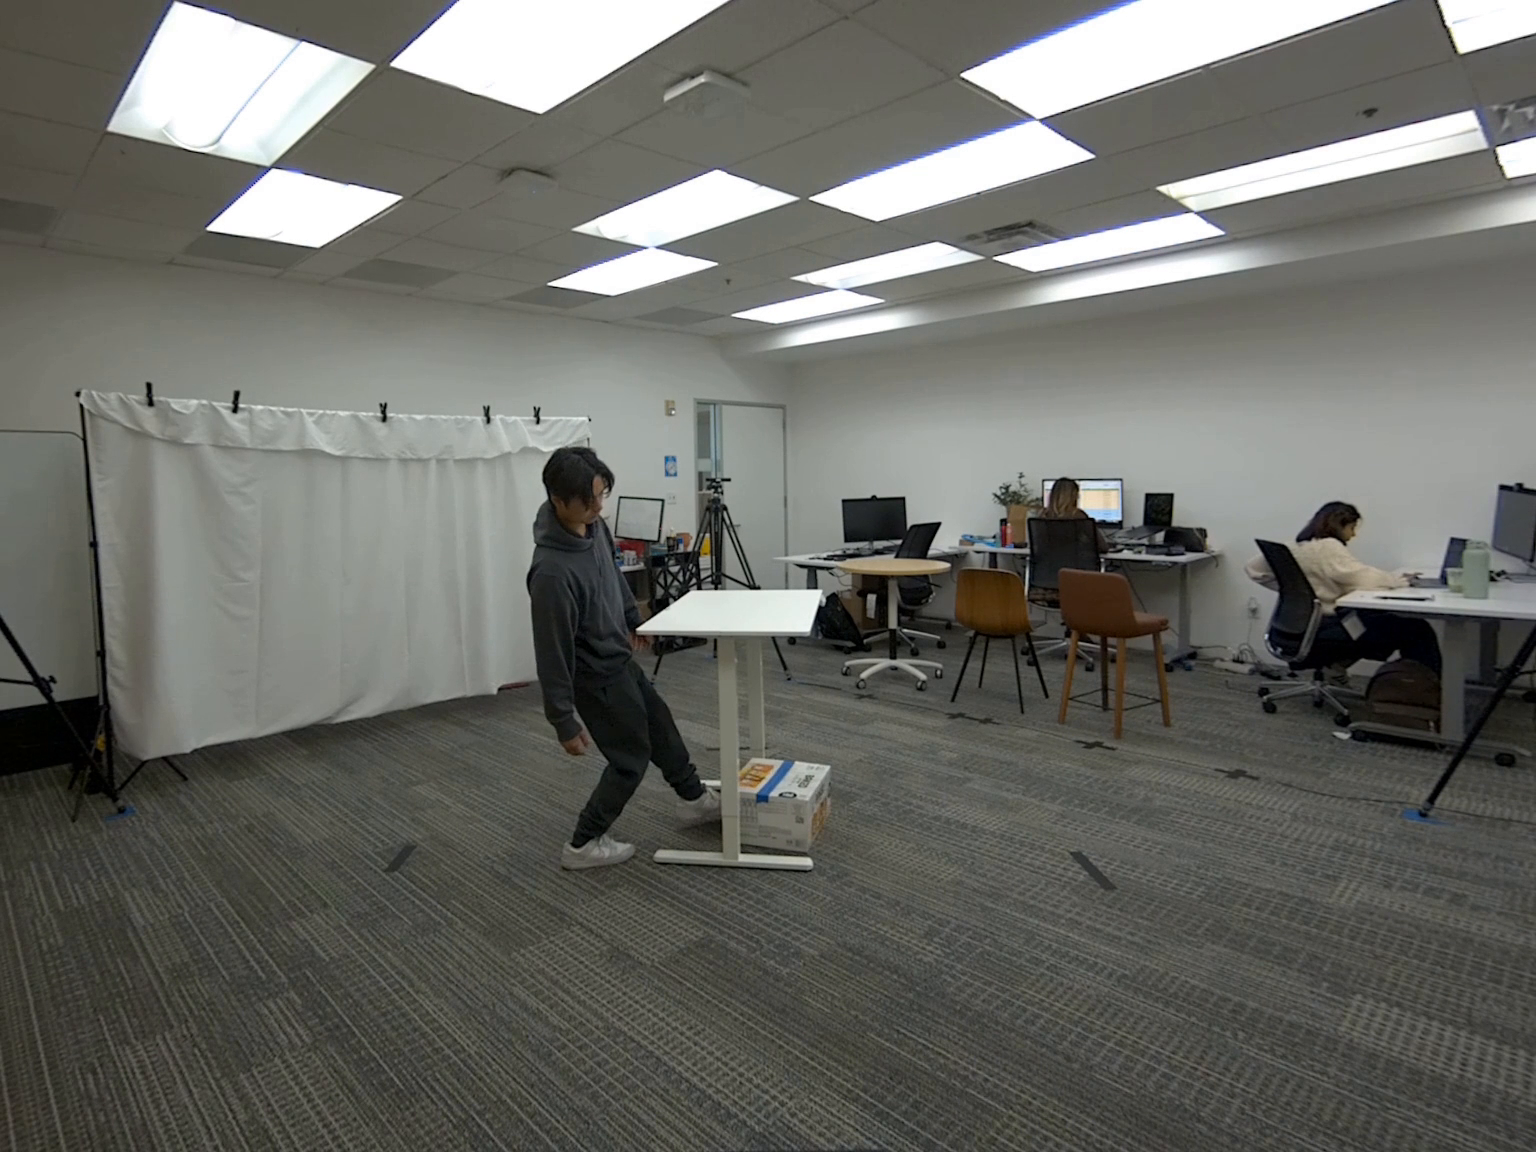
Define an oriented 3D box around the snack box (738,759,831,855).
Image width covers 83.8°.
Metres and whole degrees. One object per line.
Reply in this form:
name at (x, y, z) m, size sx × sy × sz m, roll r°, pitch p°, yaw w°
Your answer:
snack box at (0.042, 0.904, 3.412) m, size 0.346 × 0.205 × 0.400 m, roll 1°, pitch 6°, yaw 17°
